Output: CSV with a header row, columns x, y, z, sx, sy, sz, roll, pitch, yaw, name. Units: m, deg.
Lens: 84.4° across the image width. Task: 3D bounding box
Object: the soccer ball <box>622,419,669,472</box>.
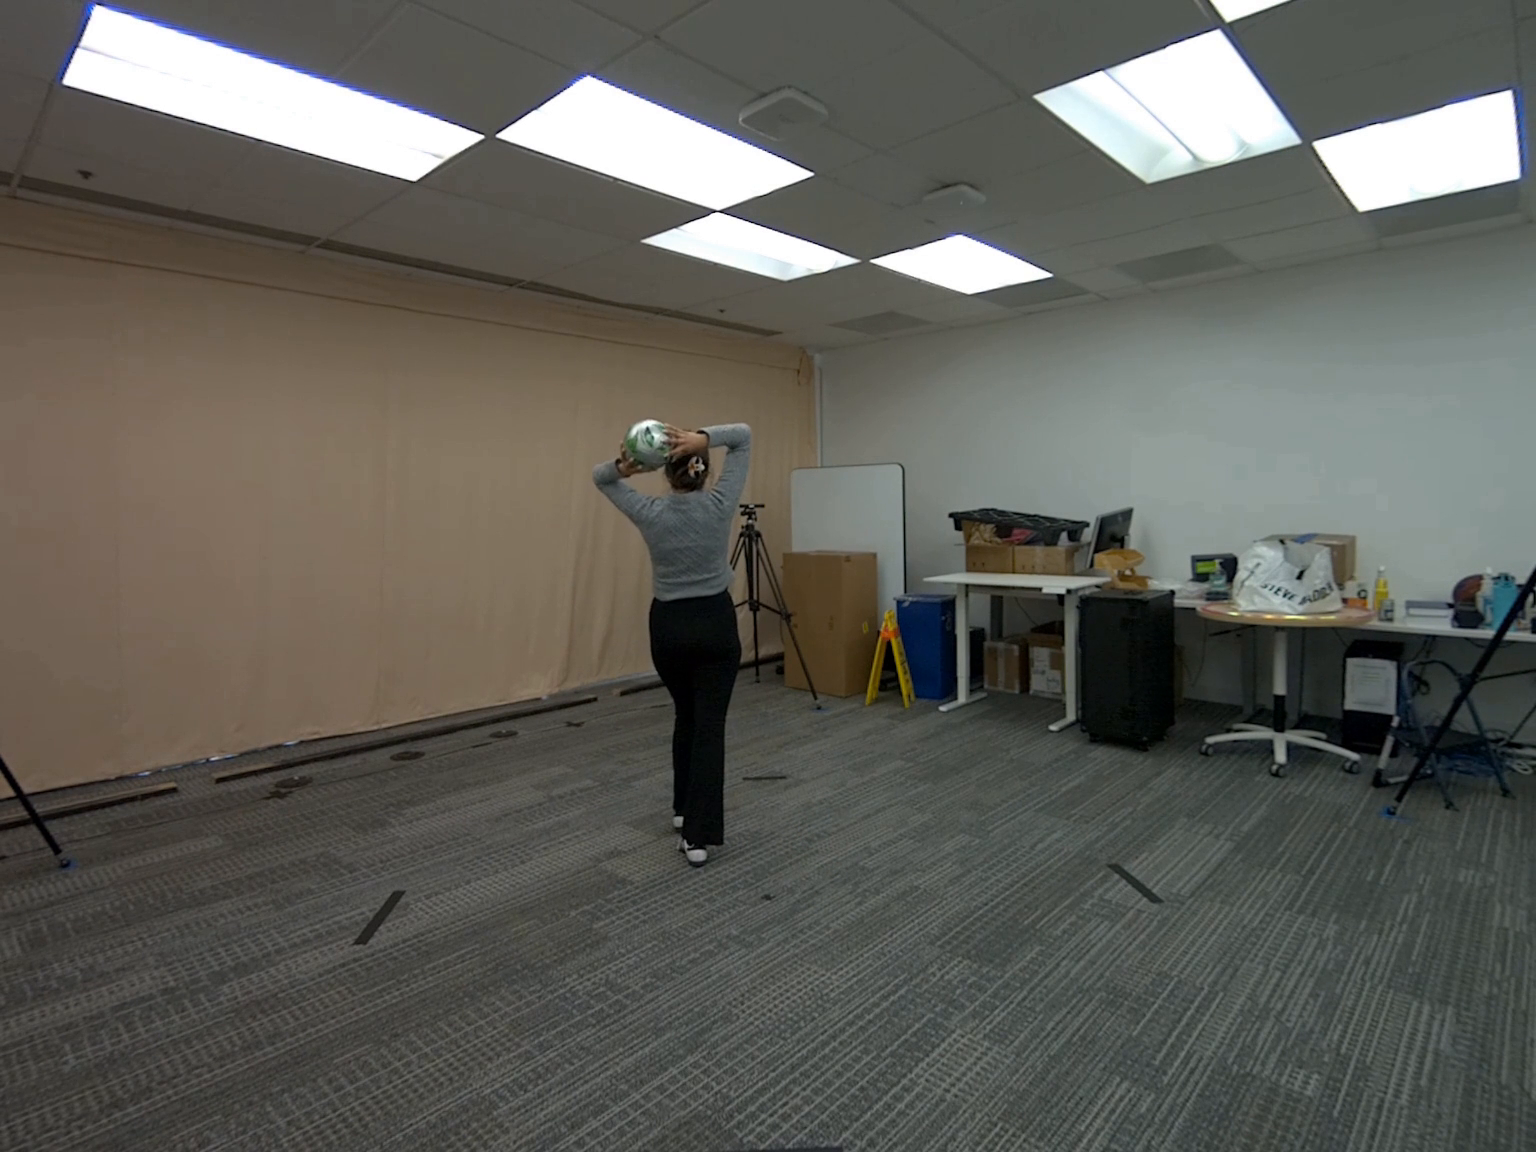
x,y,z,sx,sy,sz,roll,pitch,yaw,name
-0.435,-0.482,3.102,0.187,0.187,0.188,-1,4,-2,soccer ball
